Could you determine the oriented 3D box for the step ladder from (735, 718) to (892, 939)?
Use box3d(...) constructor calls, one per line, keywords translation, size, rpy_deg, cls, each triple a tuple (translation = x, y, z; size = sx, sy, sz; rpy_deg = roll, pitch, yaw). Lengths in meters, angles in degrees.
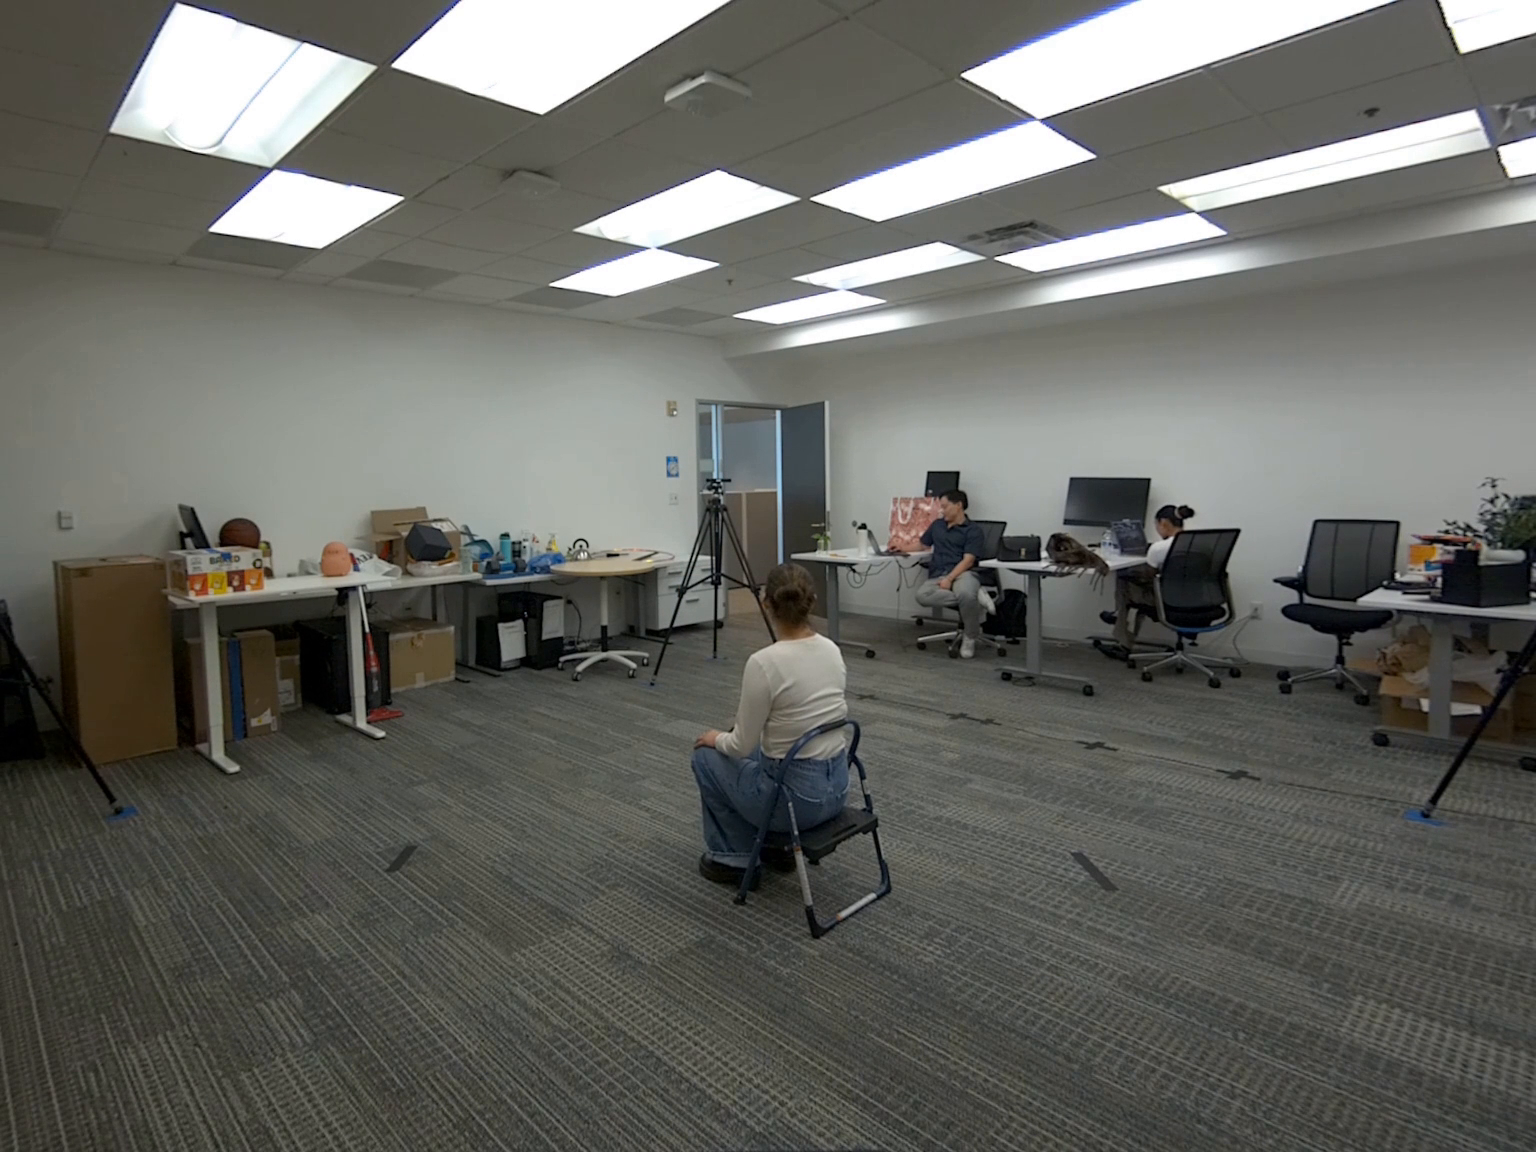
box3d(translation=(0.154, 0.769, 2.827), size=(0.360, 0.604, 0.419), rpy_deg=(3, 6, 42), cls="step ladder")
